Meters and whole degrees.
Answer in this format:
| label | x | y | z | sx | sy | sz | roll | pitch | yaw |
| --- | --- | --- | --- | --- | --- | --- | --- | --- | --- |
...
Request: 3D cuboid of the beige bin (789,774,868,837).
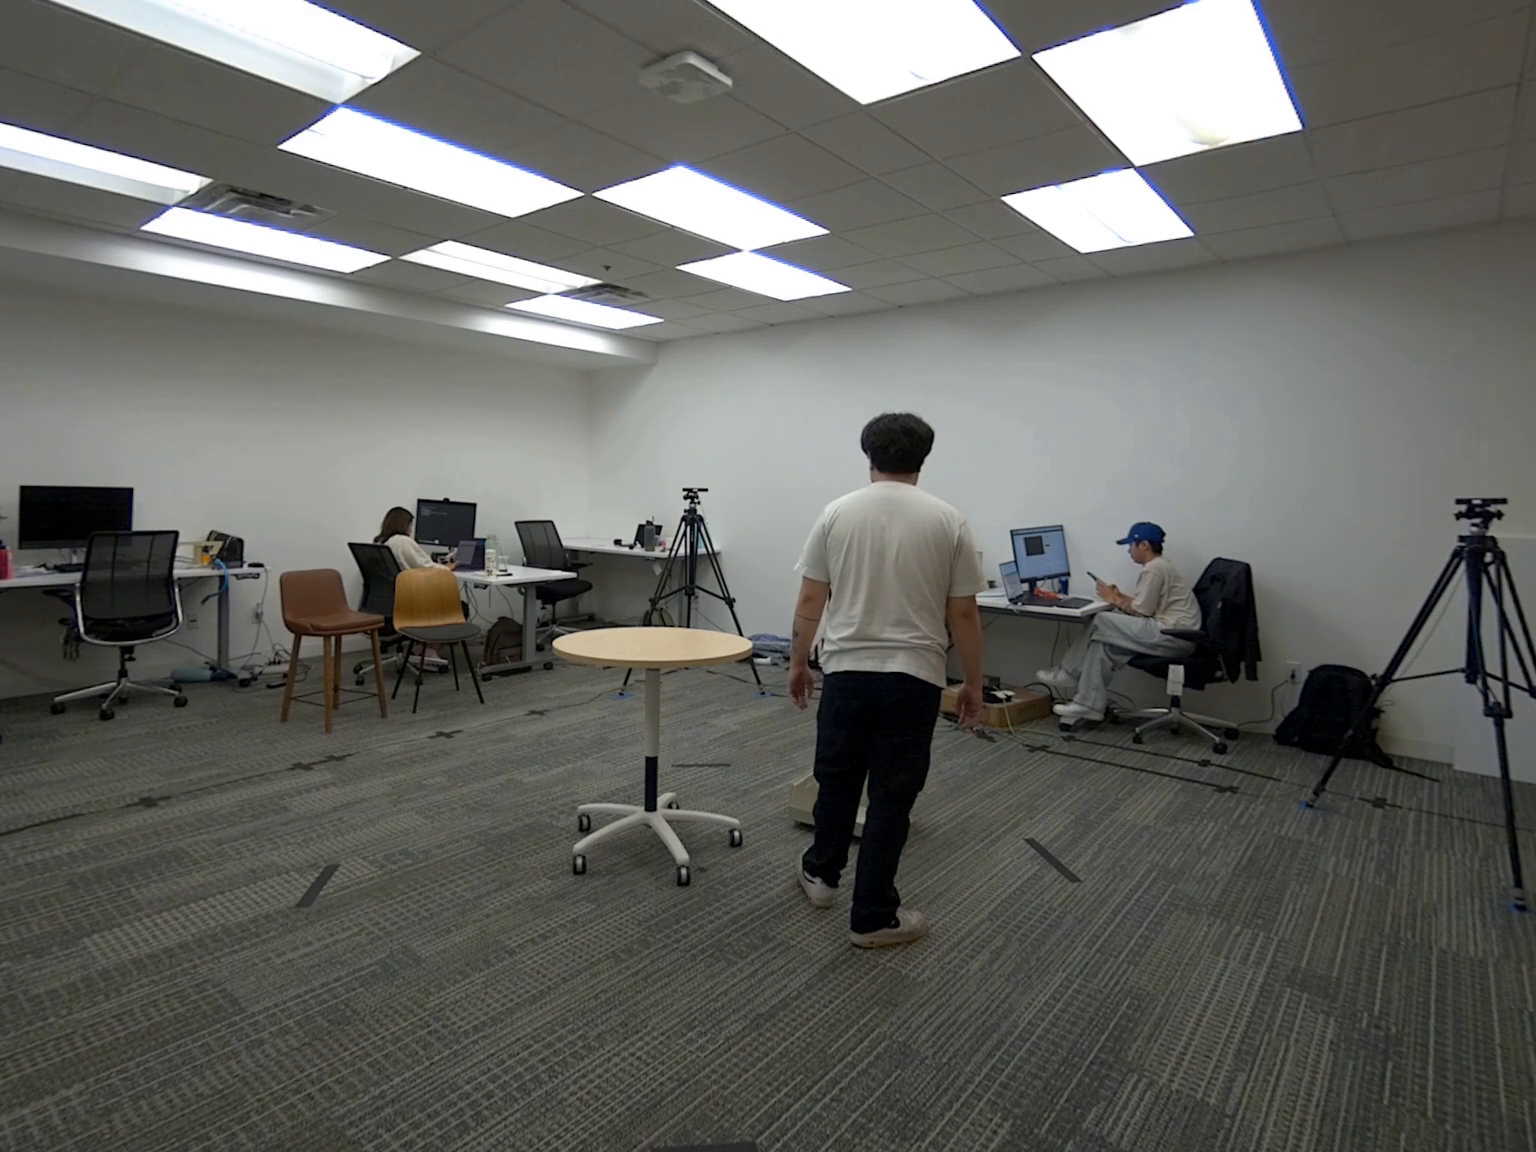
| label | x | y | z | sx | sy | sz | roll | pitch | yaw |
| --- | --- | --- | --- | --- | --- | --- | --- | --- | --- |
| beige bin | 0.345 | 0.942 | 3.560 | 0.435 | 0.188 | 0.368 | 3 | 5 | 29 |
